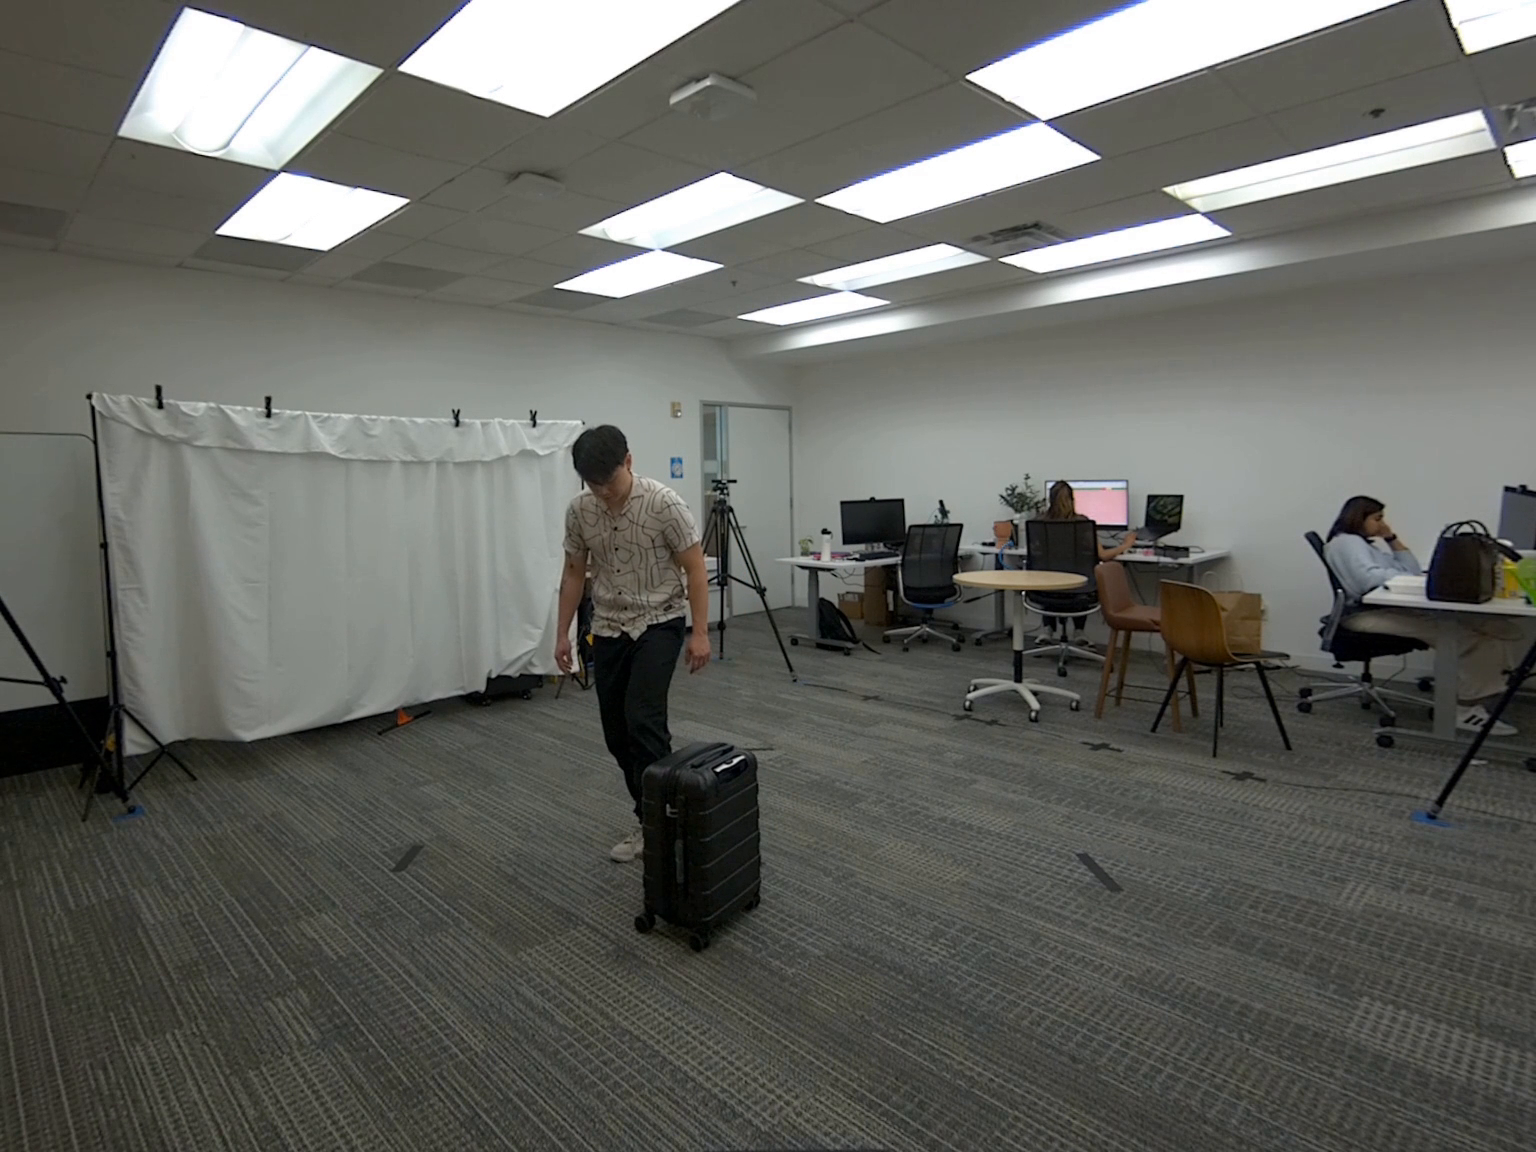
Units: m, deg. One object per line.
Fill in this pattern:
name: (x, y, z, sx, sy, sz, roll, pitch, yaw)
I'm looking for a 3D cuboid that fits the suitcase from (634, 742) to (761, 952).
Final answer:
suitcase: (-0.204, 0.818, 2.697, 0.255, 0.547, 0.367, 2, 6, 31)
